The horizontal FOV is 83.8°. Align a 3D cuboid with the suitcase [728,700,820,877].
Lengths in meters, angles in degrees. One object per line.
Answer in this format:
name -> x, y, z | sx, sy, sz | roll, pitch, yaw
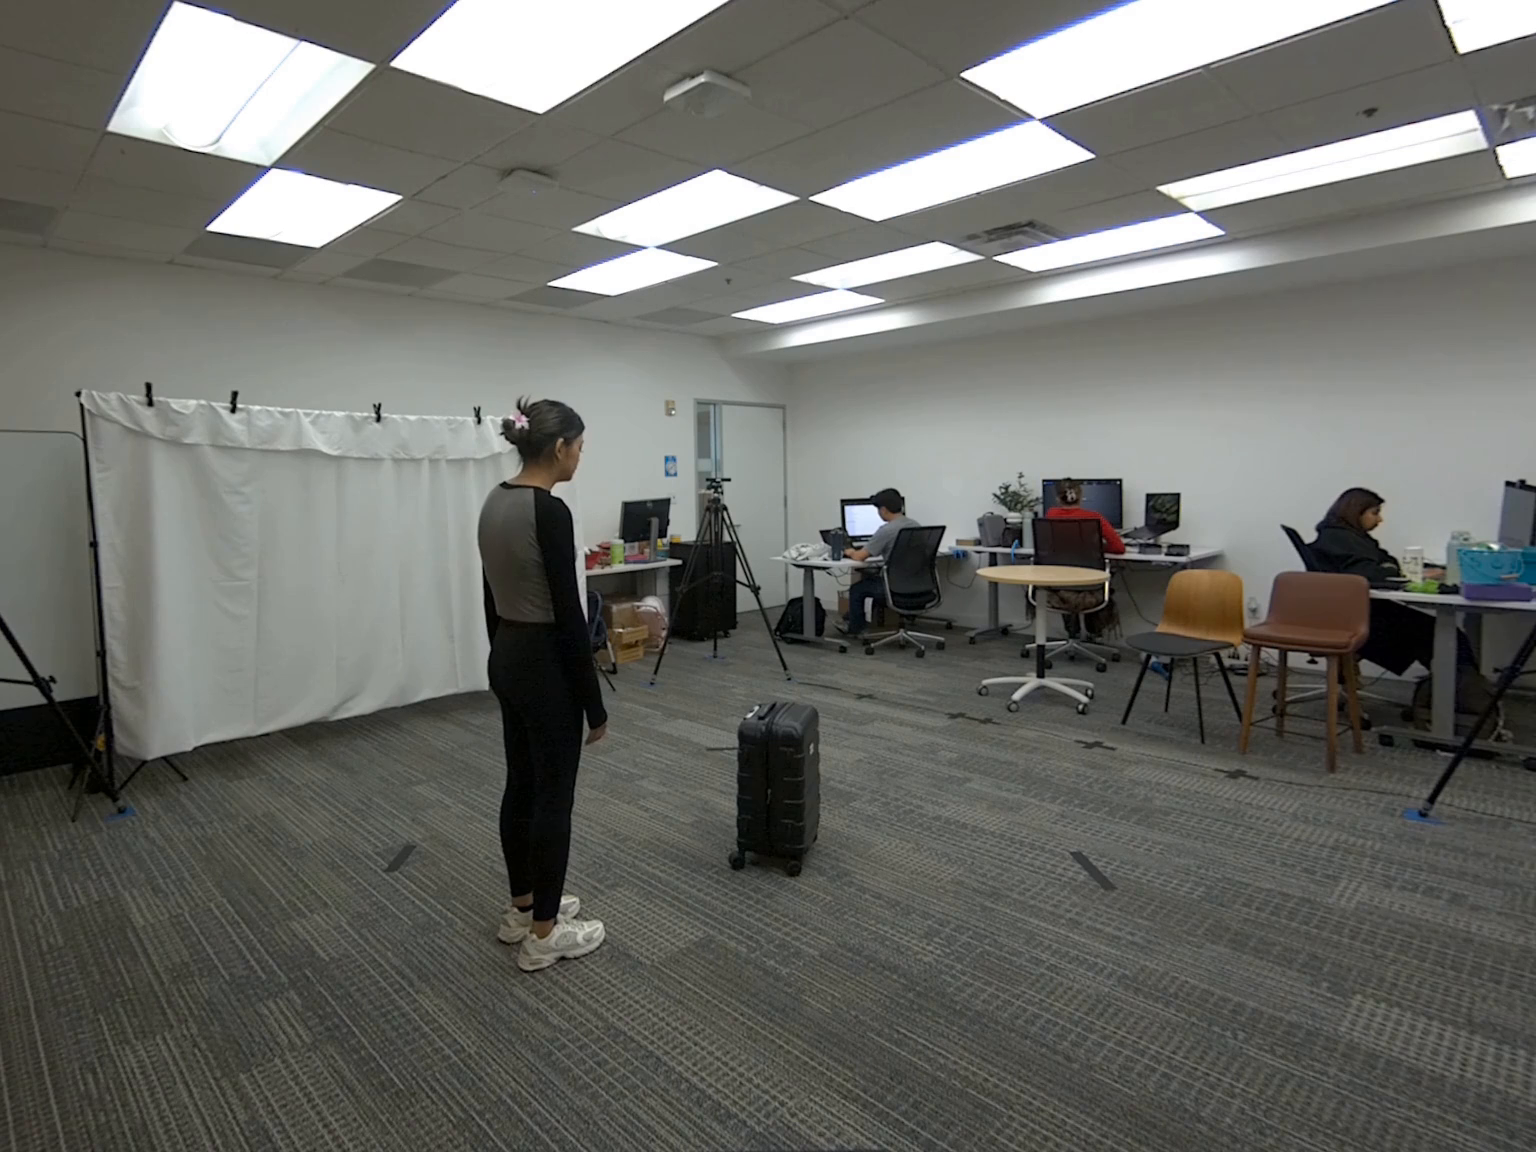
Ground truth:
suitcase -> 0.045, 0.759, 3.168 | 0.252, 0.547, 0.370 | 2, 4, 16
